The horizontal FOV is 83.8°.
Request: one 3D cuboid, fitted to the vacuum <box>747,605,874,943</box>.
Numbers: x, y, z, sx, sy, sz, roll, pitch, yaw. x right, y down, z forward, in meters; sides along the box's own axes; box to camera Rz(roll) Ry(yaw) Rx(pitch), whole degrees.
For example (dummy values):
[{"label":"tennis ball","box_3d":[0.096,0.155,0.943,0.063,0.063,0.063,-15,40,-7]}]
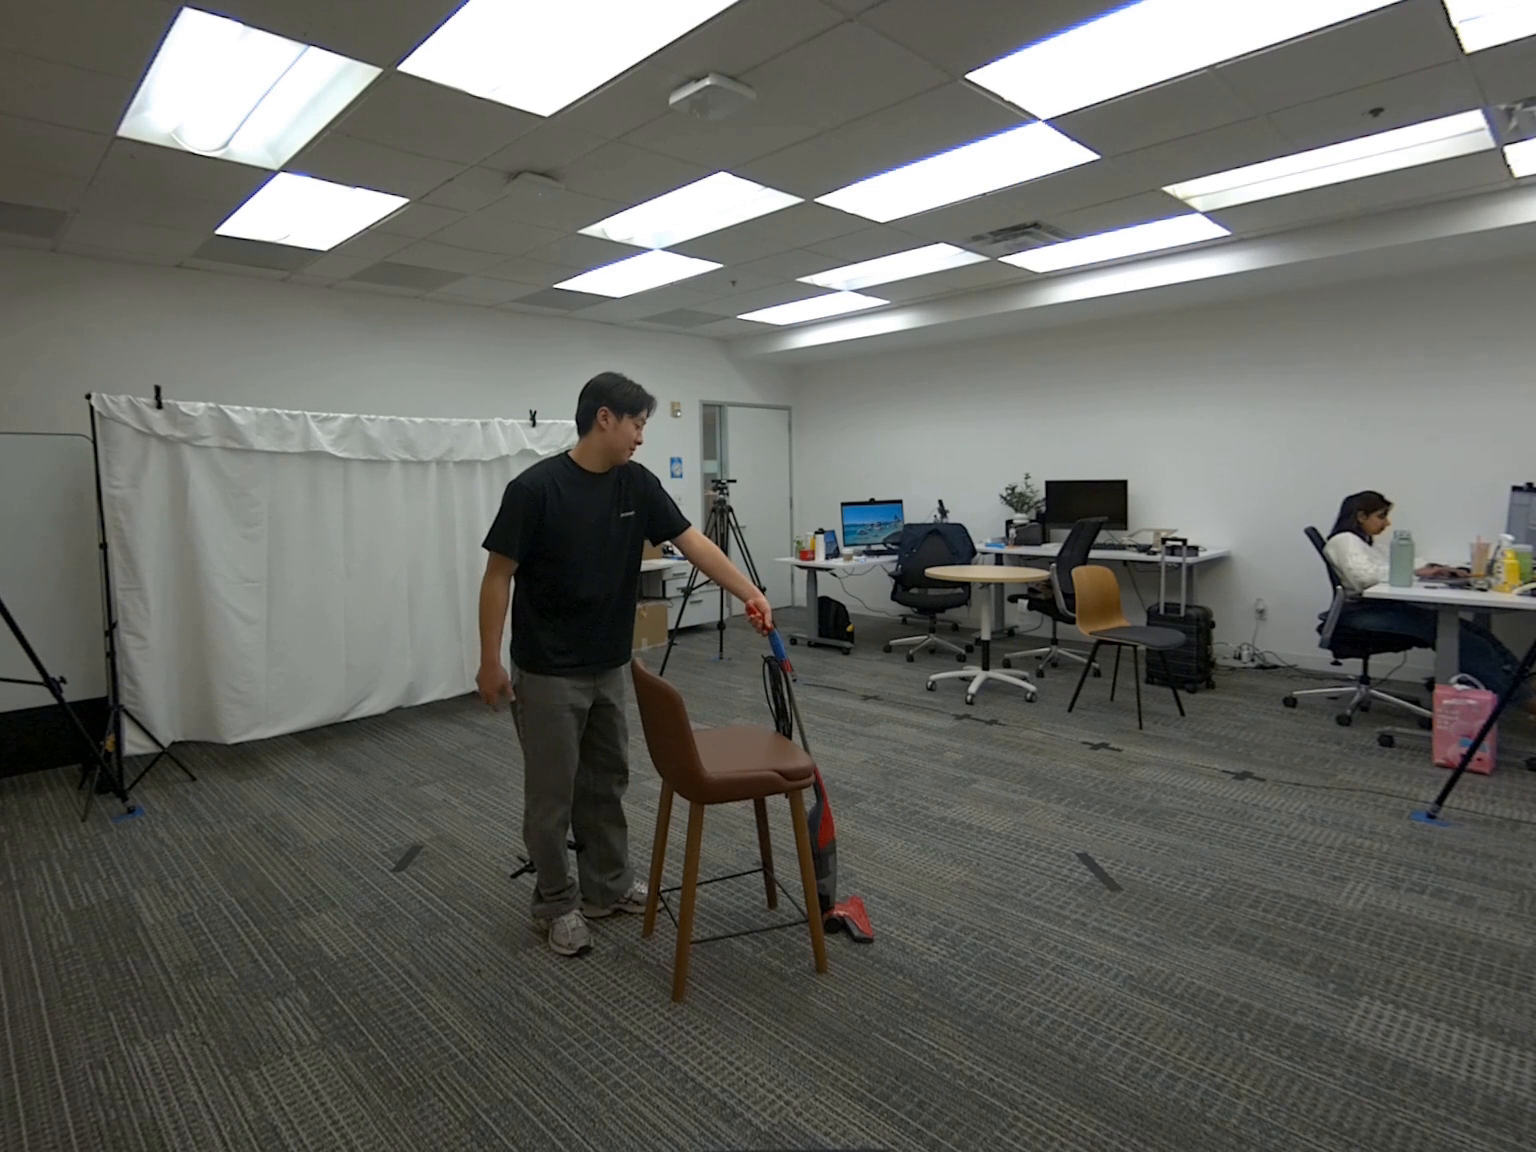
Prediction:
[{"label":"vacuum","box_3d":[0.094,0.584,2.656,0.144,1.045,0.254,-18,3,-2]}]
